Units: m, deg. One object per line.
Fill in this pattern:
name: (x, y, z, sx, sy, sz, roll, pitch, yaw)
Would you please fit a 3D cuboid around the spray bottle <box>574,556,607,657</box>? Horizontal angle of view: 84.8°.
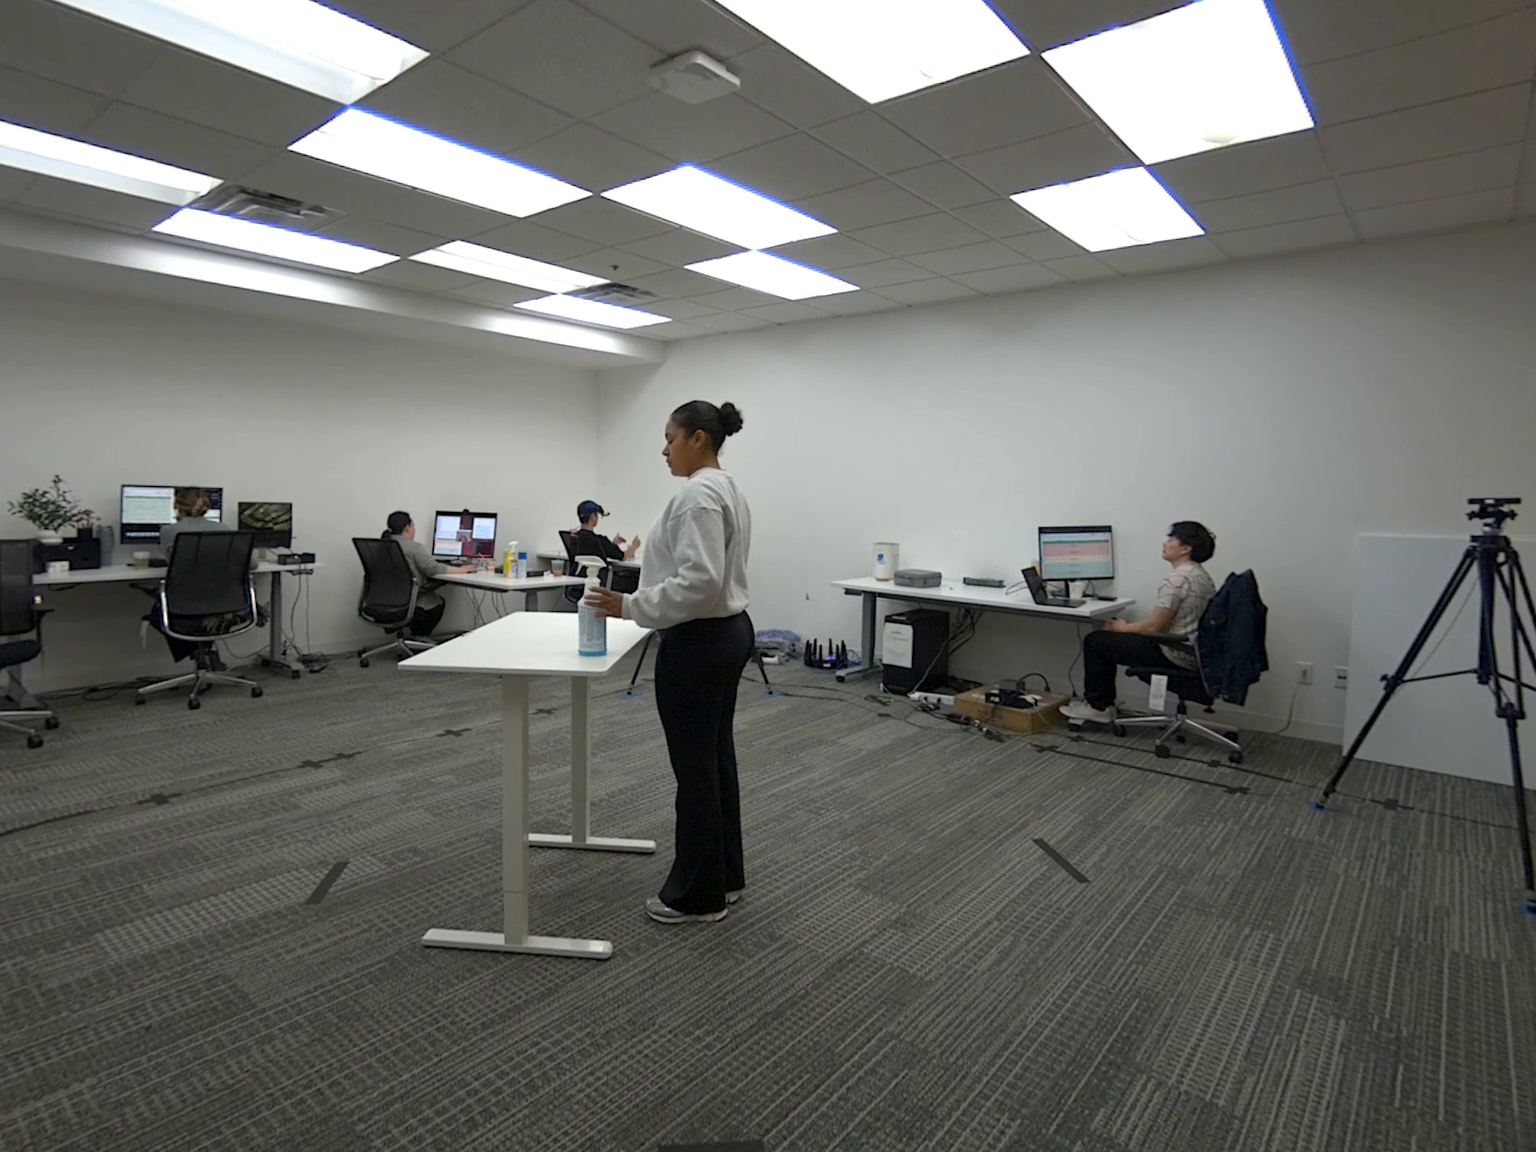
spray bottle: (-0.541, 0.087, 2.566, 0.091, 0.297, 0.086, -1, 1, 15)
